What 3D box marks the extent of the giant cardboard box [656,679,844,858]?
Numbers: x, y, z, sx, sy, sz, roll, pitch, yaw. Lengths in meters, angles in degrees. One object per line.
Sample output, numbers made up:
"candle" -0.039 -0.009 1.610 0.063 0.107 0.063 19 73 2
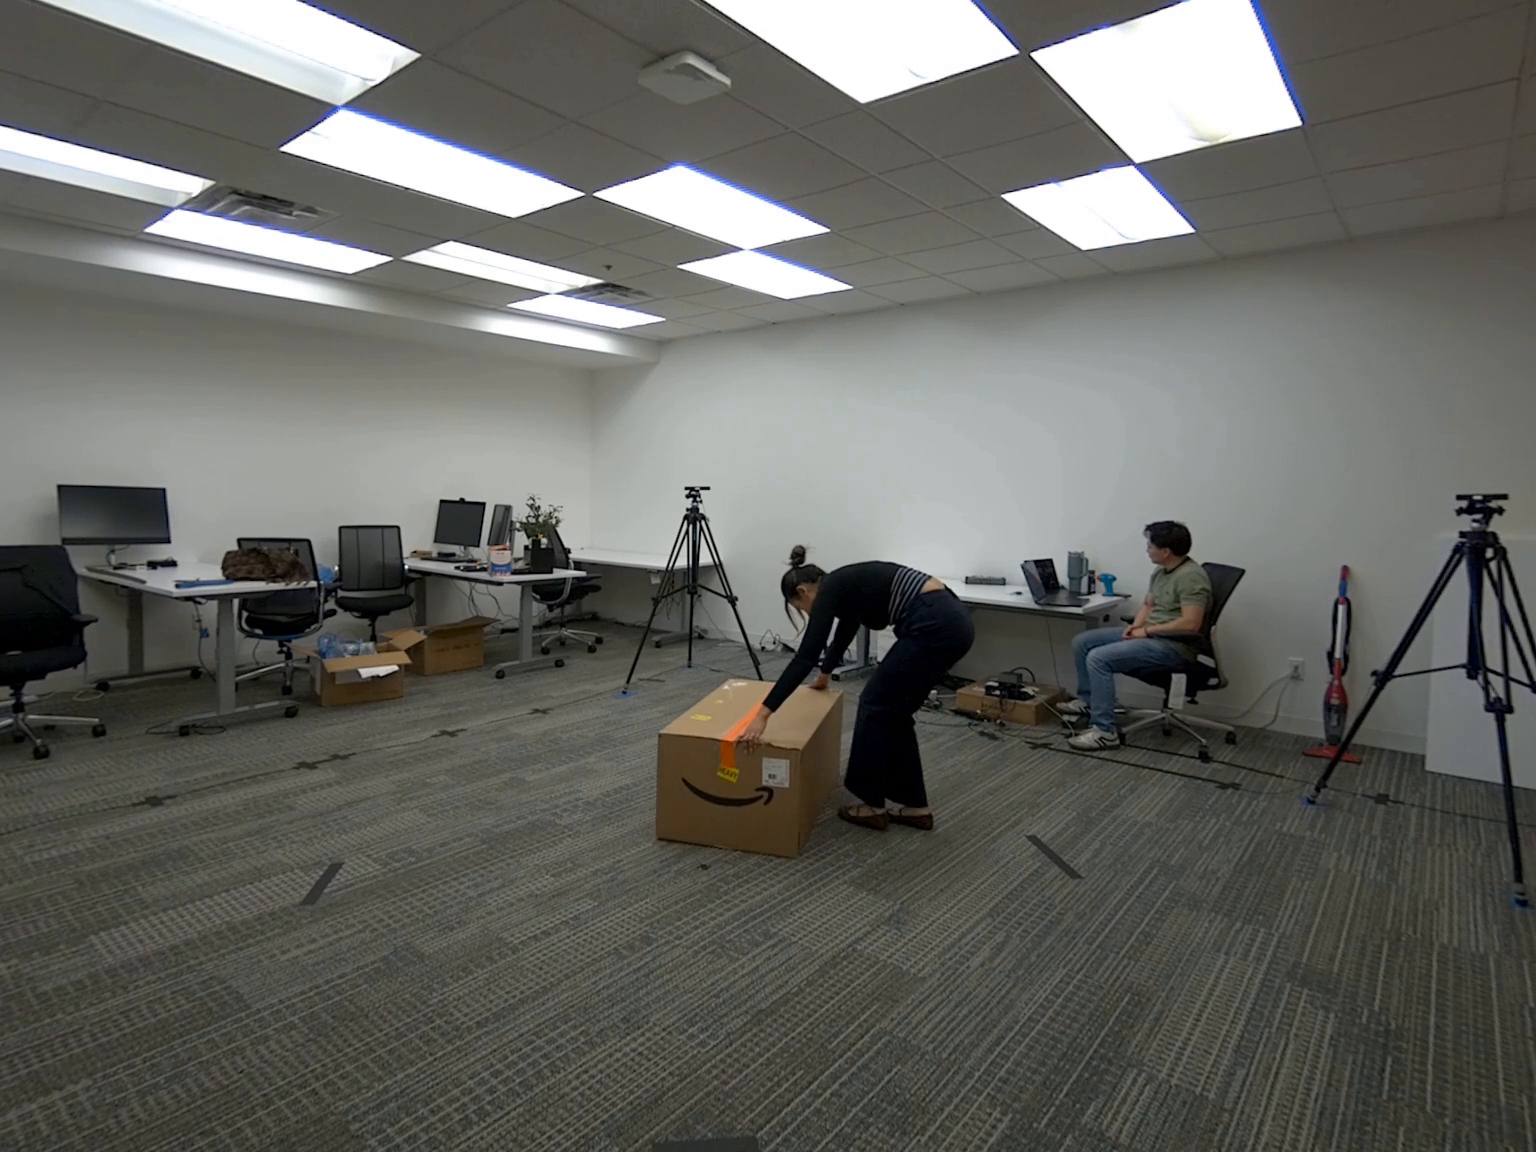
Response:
"giant cardboard box" -0.052 0.785 3.743 0.588 0.424 1.012 3 6 15
